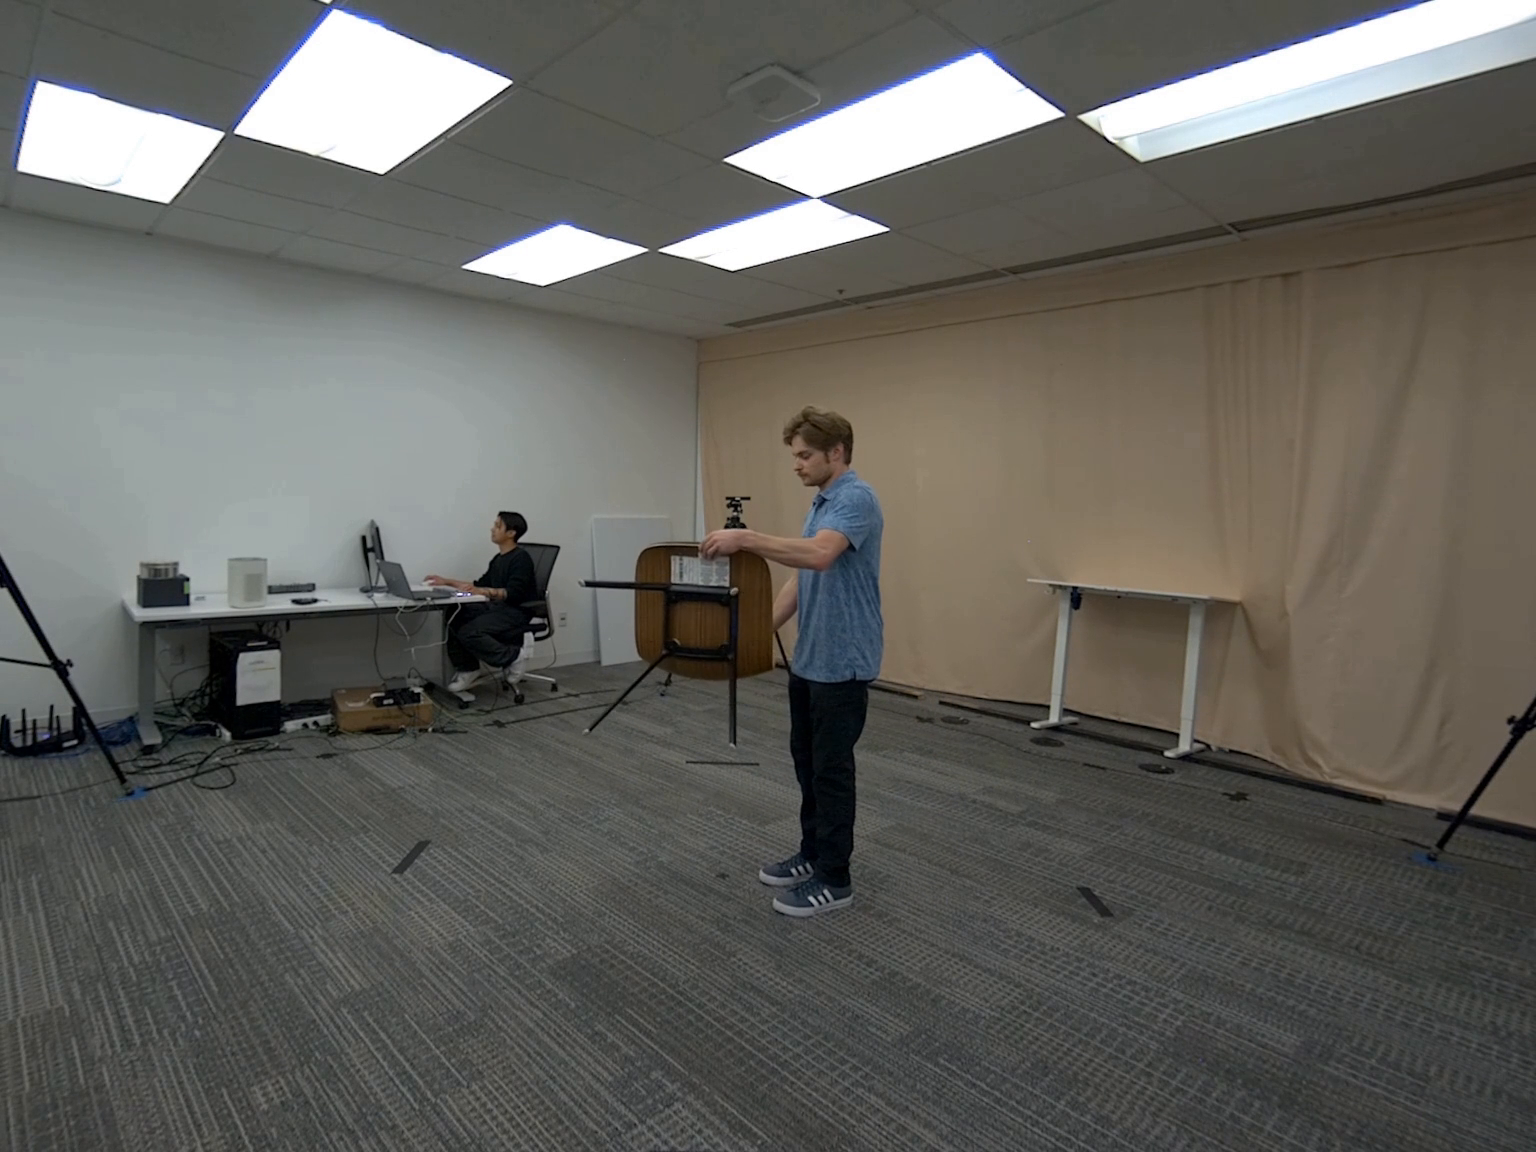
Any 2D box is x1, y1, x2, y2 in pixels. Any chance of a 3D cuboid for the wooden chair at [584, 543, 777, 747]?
[{"bbox_3d":[-0.228,0.158,2.725,0.484,0.520,0.871,4,8,13],"label":"wooden chair"}]
